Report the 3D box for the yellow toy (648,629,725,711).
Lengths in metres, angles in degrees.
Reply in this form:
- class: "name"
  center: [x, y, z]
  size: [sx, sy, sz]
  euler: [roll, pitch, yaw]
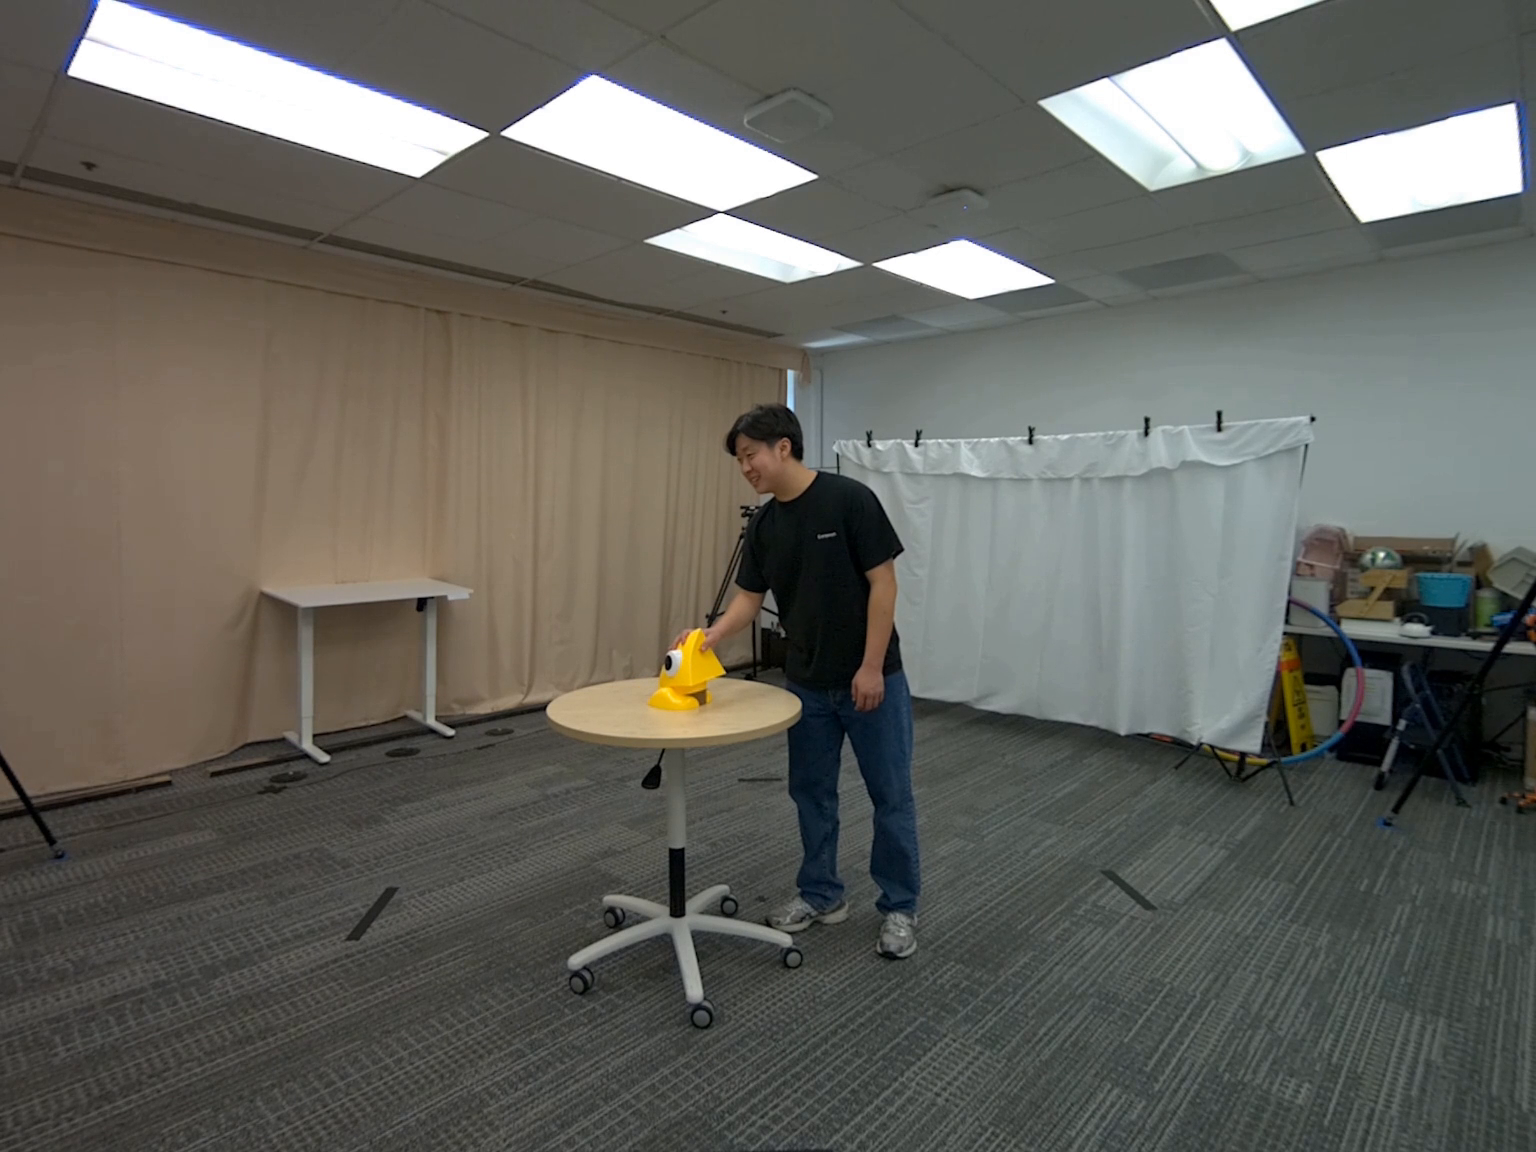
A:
- class: "yellow toy"
  center: [-0.255, 0.275, 2.554]
  size: [0.198, 0.230, 0.200]
  euler: [2, 5, 28]
